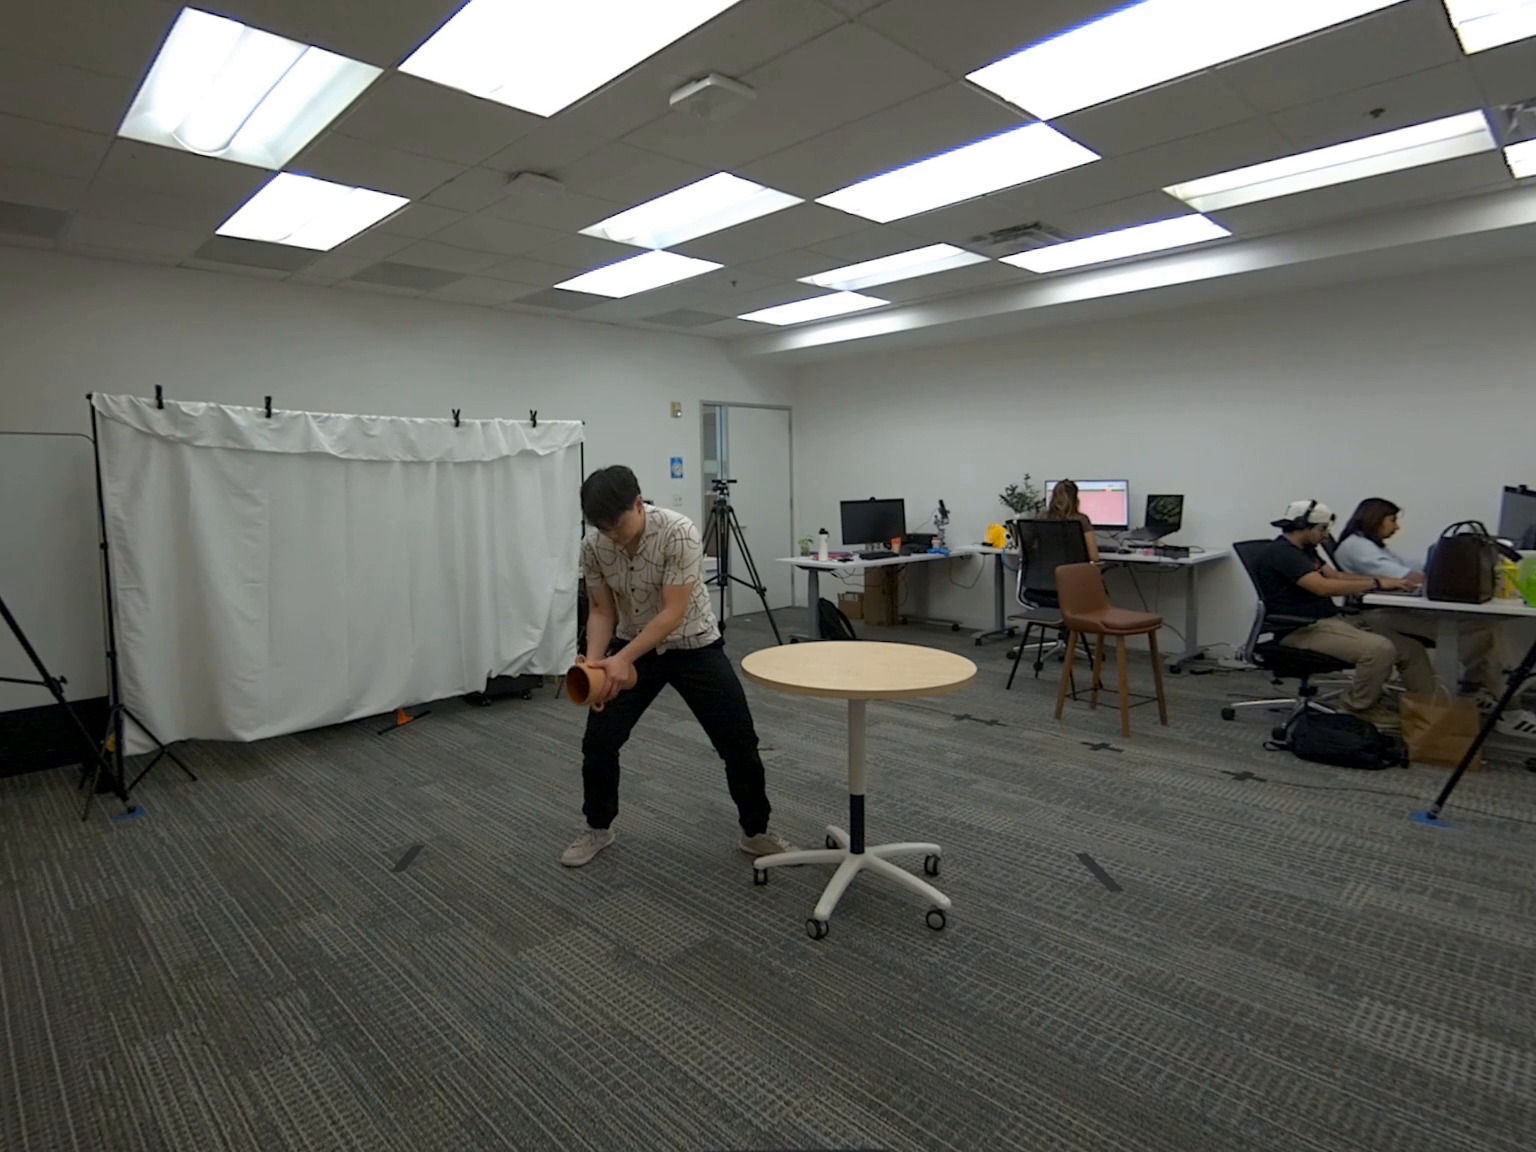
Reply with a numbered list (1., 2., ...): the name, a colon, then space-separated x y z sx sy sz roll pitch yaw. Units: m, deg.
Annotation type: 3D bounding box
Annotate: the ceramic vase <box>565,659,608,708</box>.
1. ceramic vase: -0.554 0.351 2.839 0.139 0.158 0.214 13 10 36
